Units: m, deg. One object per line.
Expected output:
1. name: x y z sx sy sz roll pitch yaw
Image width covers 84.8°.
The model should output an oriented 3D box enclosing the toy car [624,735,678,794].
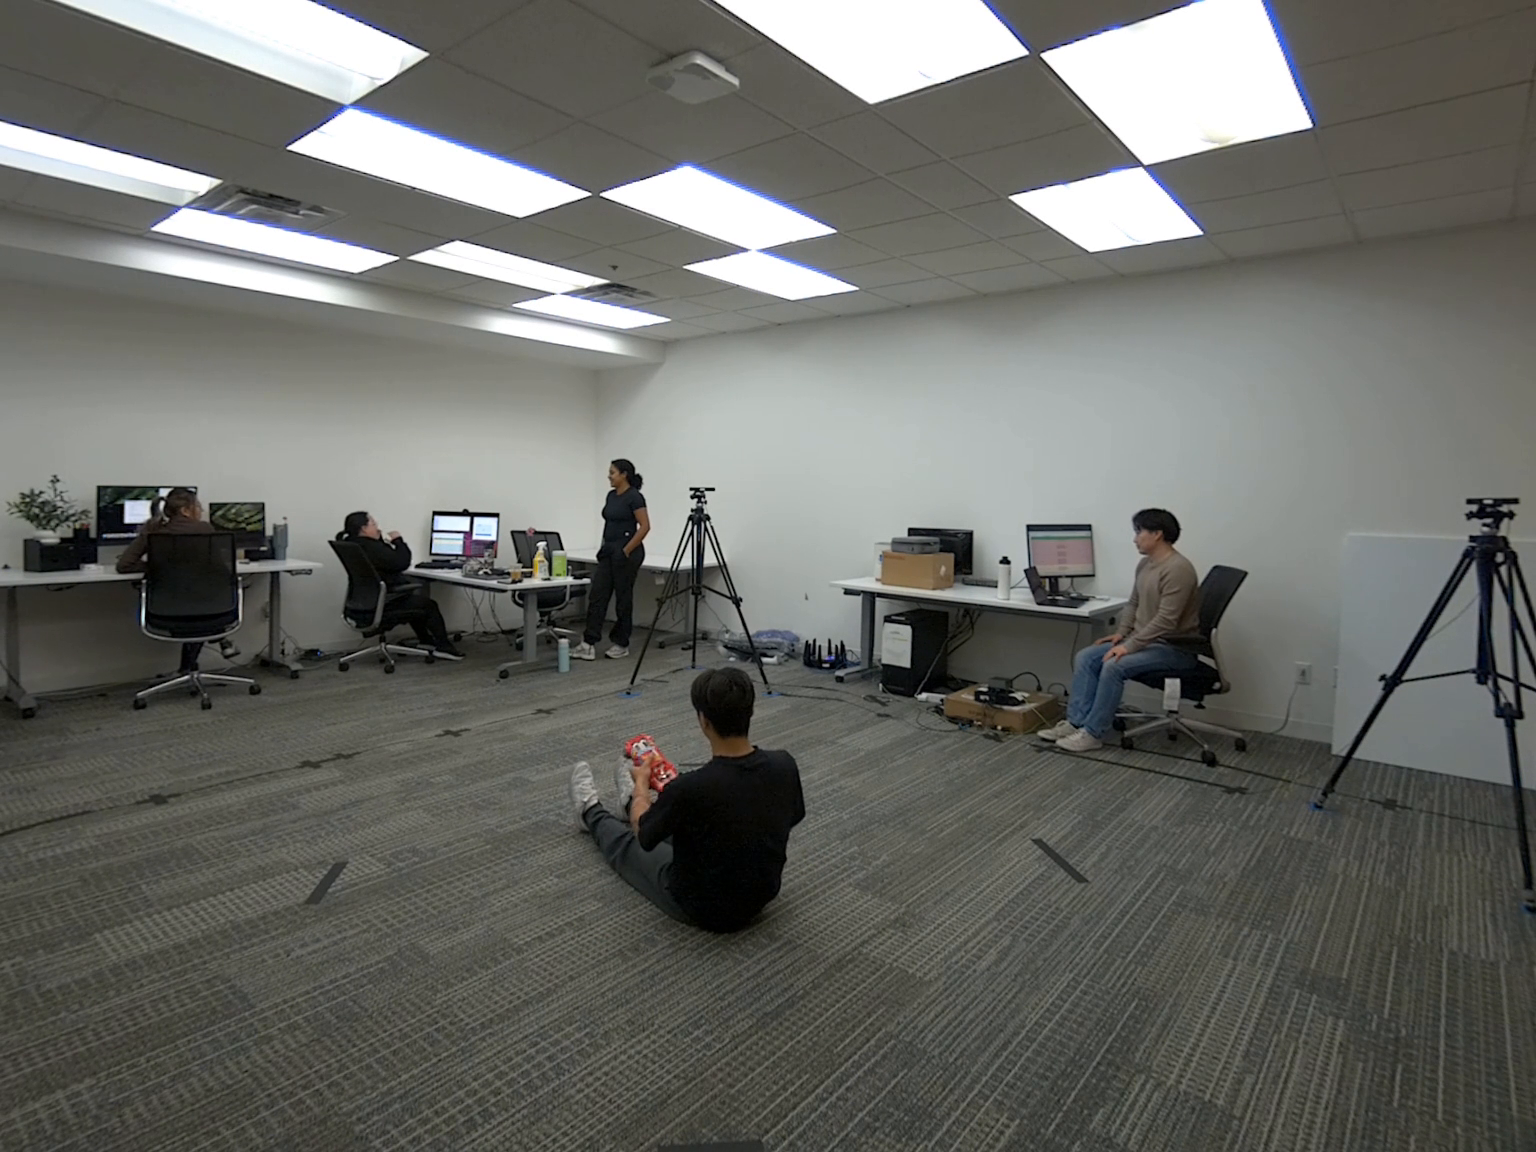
1. toy car: -0.417 0.686 3.055 0.128 0.081 0.265 -20 38 -31
